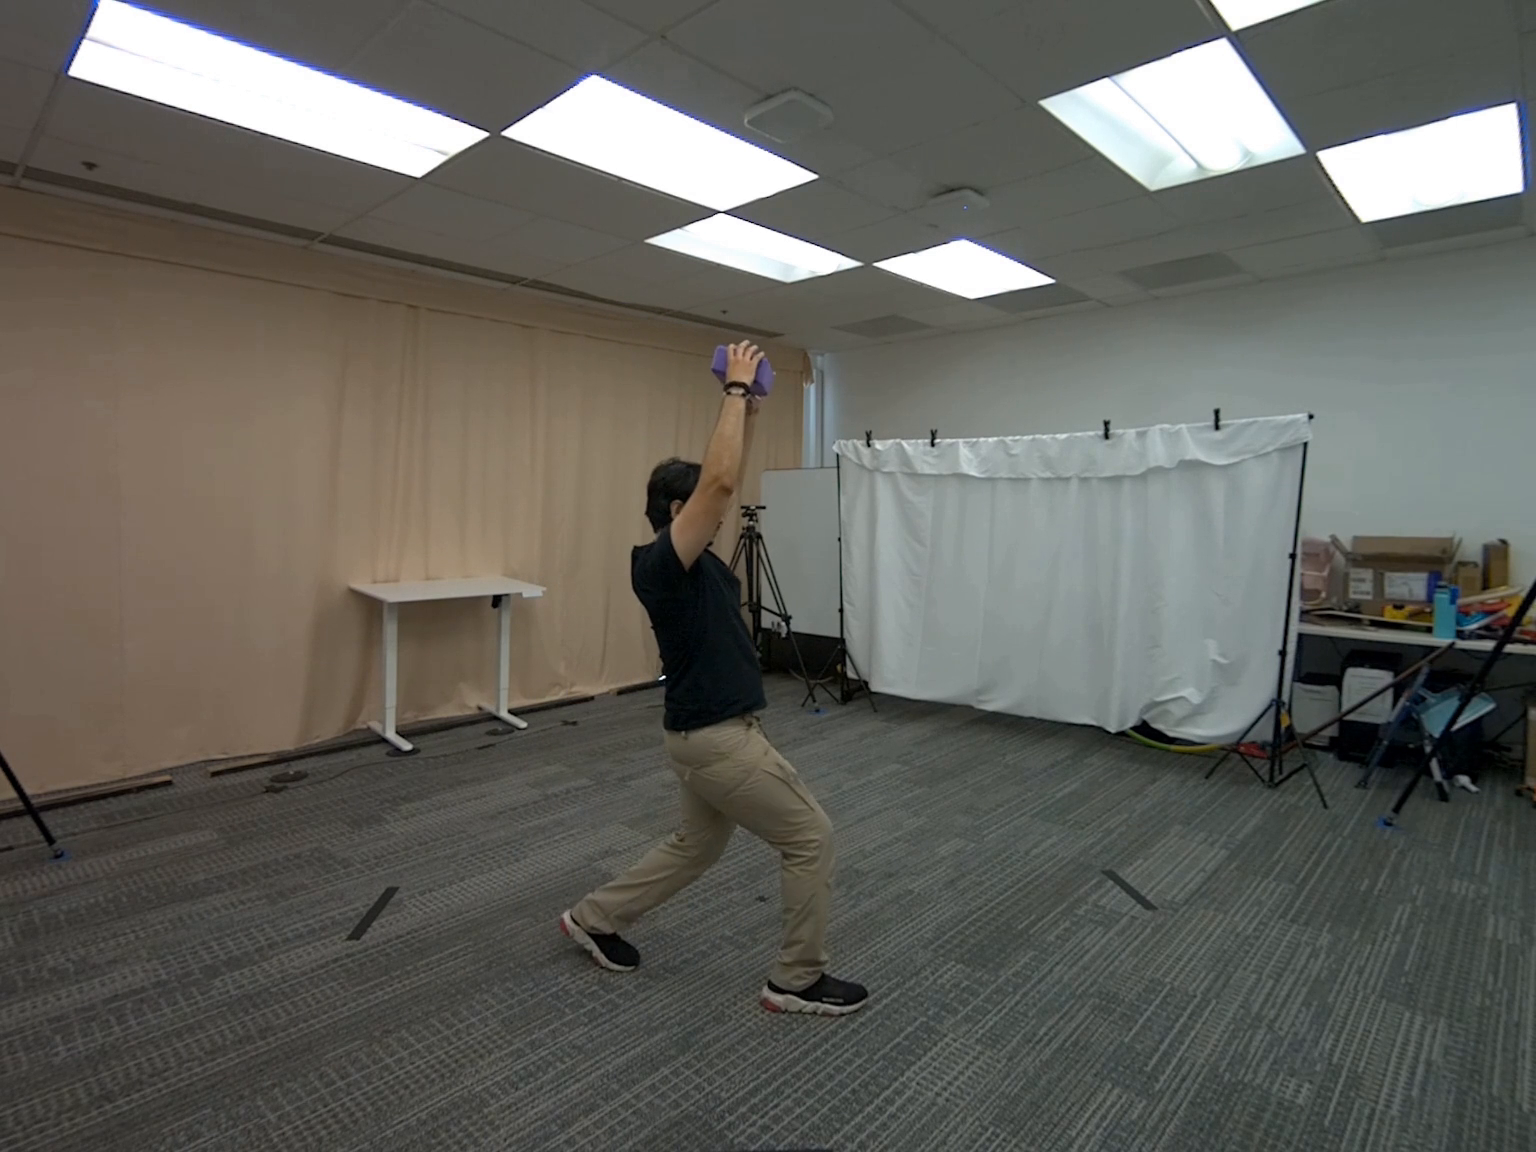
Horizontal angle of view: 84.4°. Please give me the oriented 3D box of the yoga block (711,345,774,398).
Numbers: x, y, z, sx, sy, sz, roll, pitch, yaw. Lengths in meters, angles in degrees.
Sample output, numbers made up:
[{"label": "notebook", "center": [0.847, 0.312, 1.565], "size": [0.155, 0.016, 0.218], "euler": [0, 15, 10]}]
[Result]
[{"label": "yoga block", "center": [-0.069, -0.579, 2.375], "size": [0.150, 0.076, 0.228], "euler": [17, 4, 3]}]
